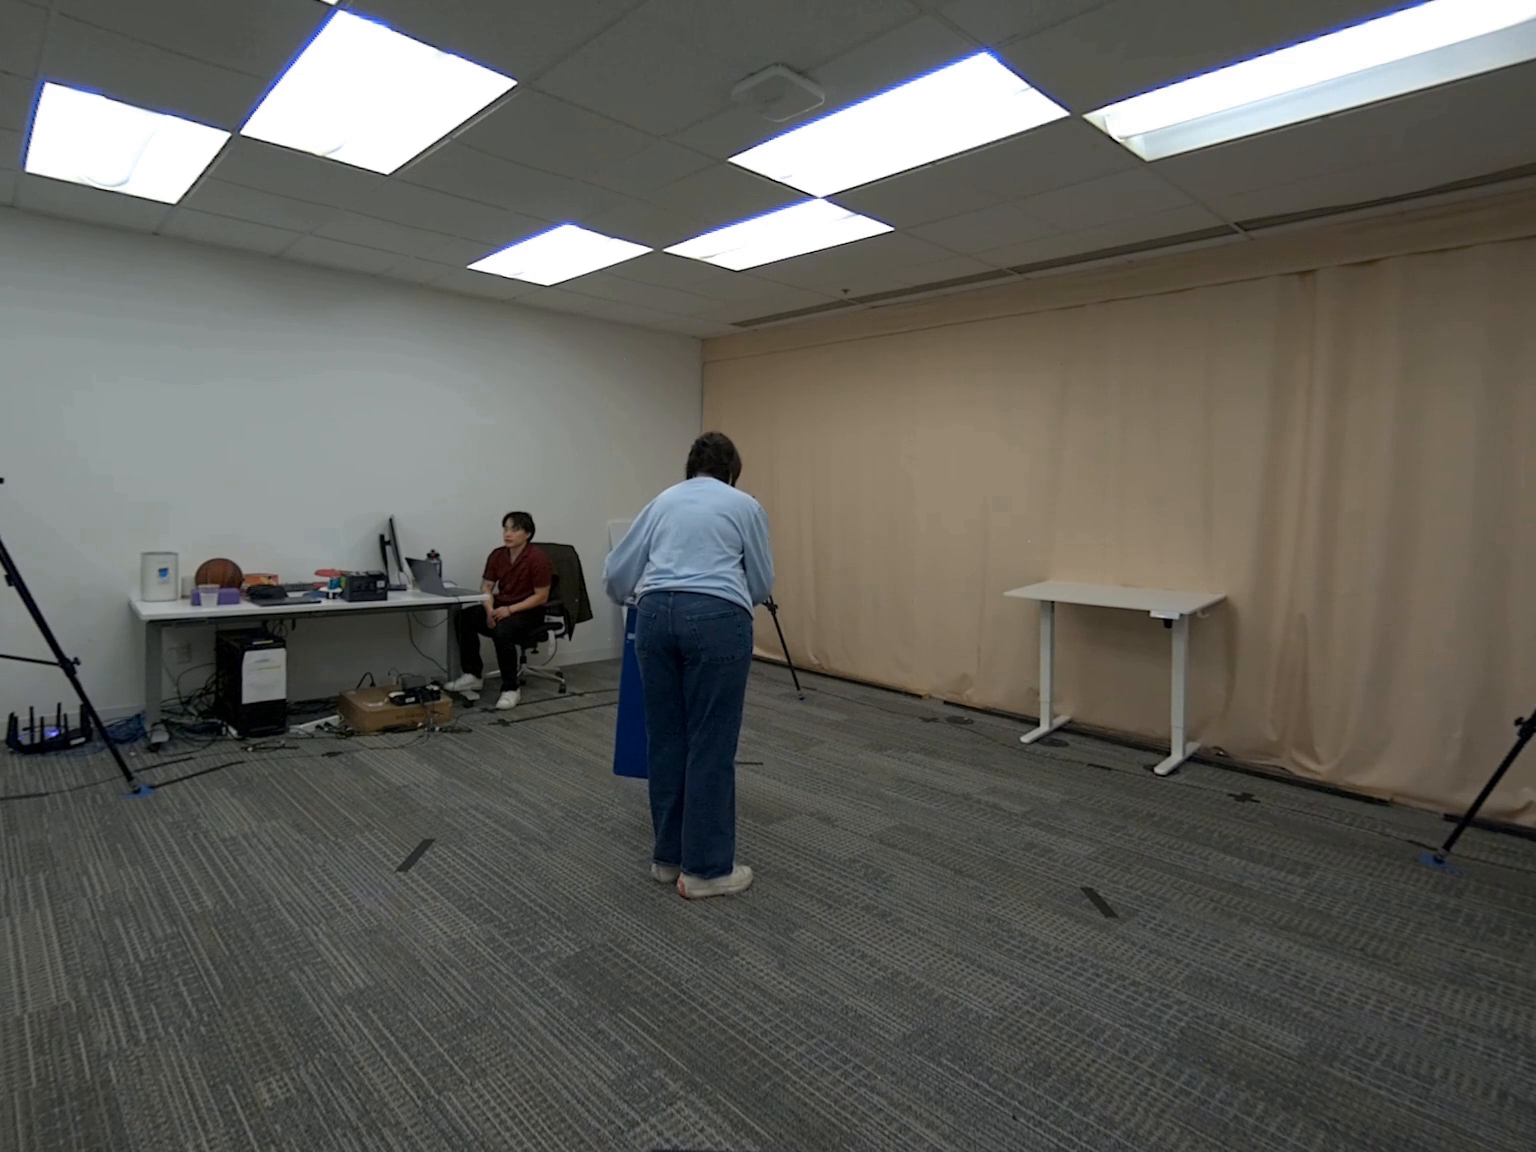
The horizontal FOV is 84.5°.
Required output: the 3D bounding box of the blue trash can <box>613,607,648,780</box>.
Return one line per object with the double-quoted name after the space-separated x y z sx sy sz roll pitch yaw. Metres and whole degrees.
-0.436 0.463 3.509 0.374 0.710 0.379 7 7 0 "blue trash can"
